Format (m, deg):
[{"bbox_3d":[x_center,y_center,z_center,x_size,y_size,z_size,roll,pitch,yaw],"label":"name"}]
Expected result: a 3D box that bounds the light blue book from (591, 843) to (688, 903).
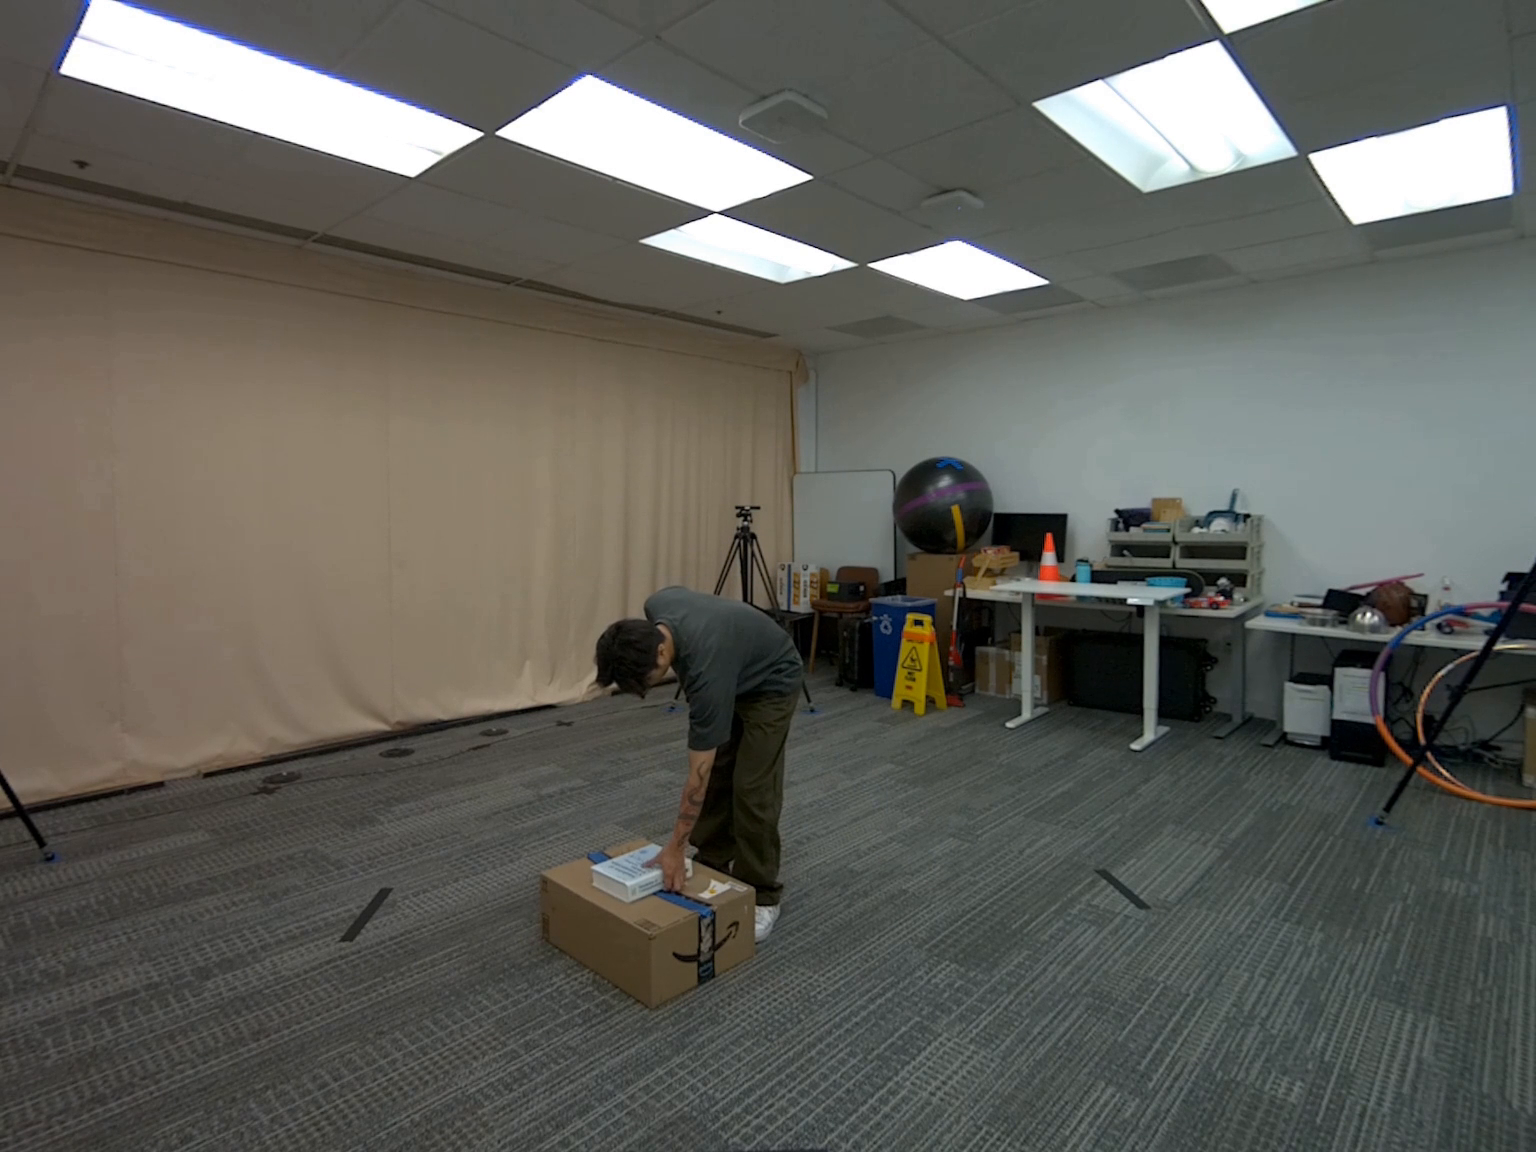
[{"bbox_3d":[-0.406,0.941,2.661,0.198,0.059,0.253,3,5,43],"label":"light blue book"}]
